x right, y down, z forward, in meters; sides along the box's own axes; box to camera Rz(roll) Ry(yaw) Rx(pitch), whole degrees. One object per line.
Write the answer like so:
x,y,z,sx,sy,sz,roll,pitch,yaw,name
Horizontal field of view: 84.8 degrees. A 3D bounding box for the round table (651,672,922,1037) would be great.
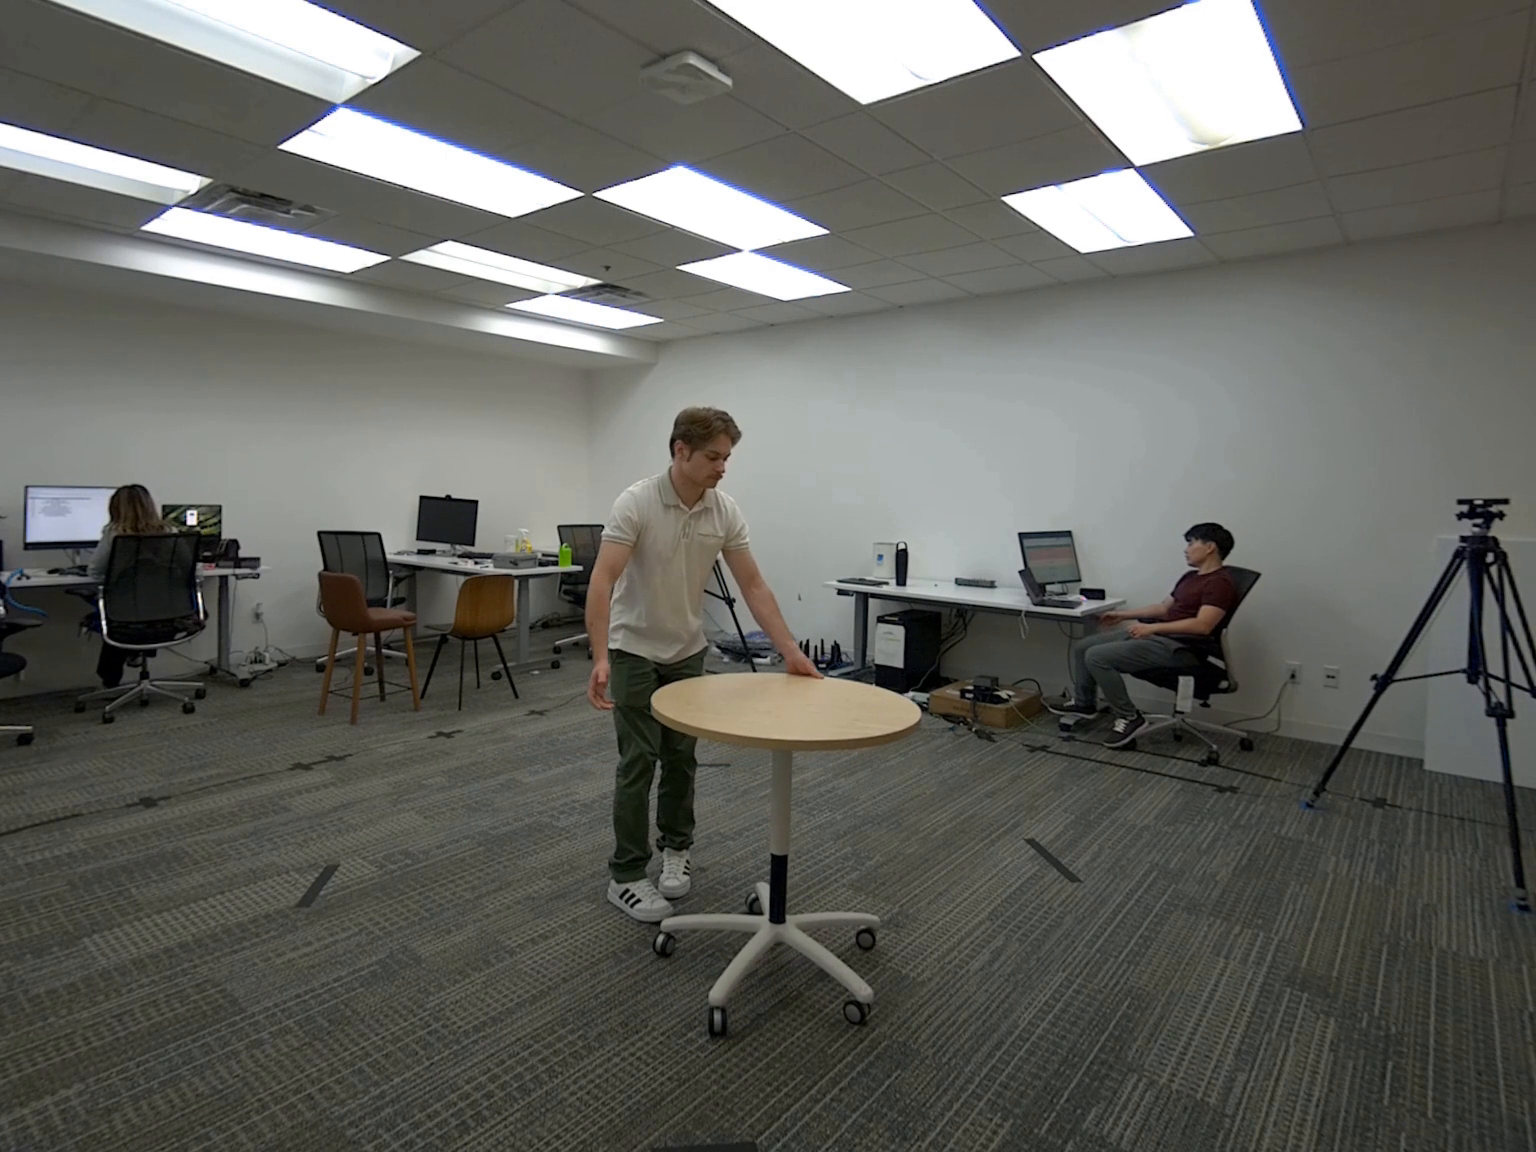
0.024,0.749,2.458,0.763,0.791,0.768,2,4,-2,round table
